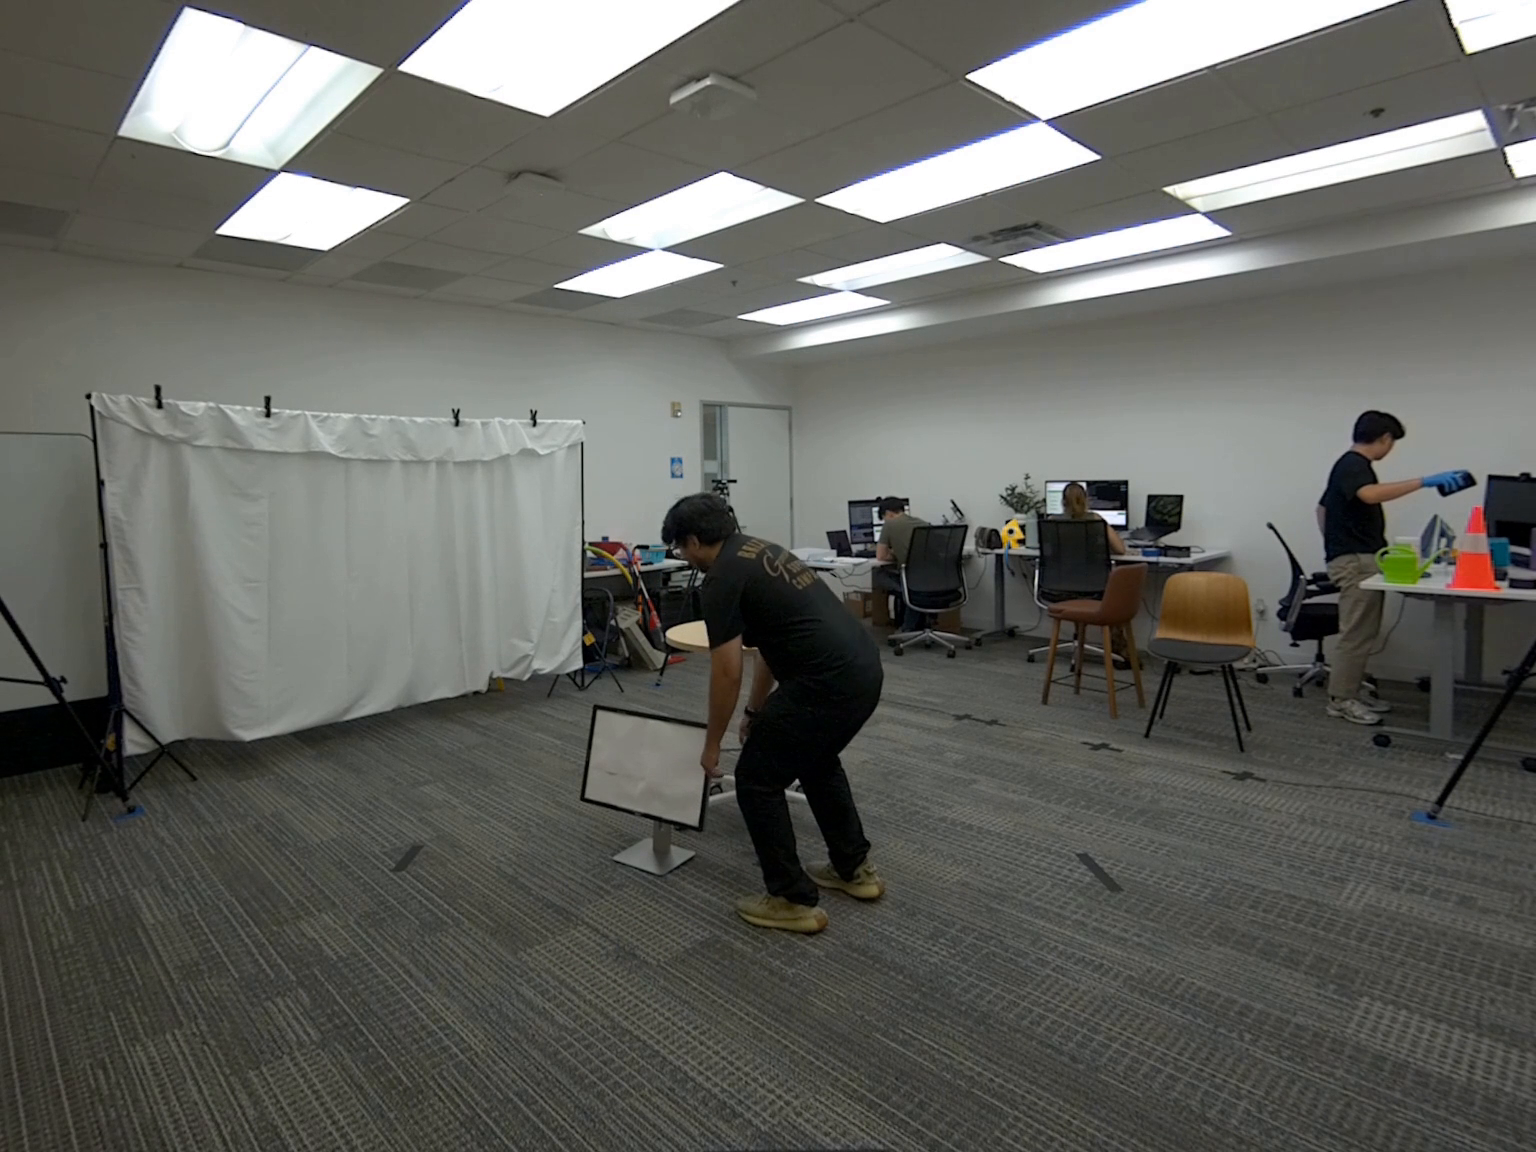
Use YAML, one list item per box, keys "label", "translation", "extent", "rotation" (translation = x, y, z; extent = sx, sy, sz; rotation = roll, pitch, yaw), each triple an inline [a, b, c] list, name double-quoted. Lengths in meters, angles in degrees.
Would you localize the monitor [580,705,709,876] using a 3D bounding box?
- label: "monitor"
  translation: [-0.413, 0.781, 3.170]
  extent: [0.581, 0.555, 0.204]
  rotation: [2, -1, 32]
